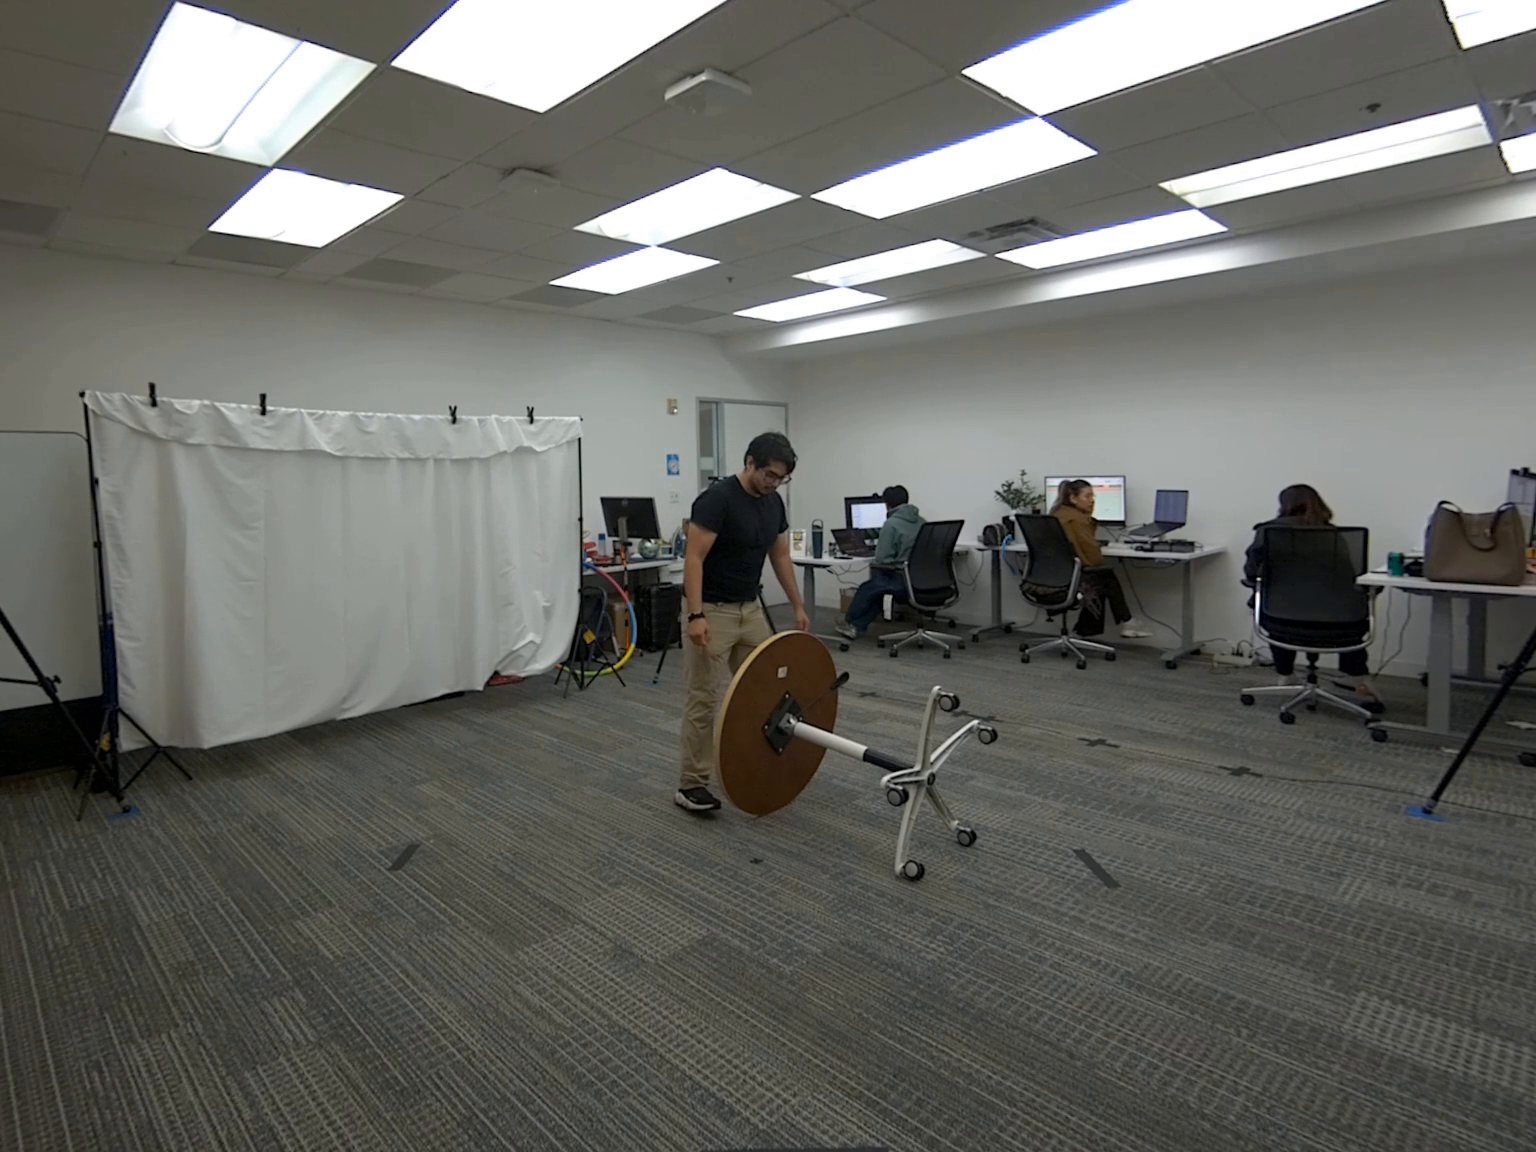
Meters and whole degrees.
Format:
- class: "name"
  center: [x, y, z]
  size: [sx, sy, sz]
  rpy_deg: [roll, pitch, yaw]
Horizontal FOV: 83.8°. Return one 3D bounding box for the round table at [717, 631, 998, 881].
- class: "round table"
  center: [0.343, 0.678, 3.266]
  size: [0.813, 0.779, 0.765]
  rpy_deg: [13, 13, 41]
